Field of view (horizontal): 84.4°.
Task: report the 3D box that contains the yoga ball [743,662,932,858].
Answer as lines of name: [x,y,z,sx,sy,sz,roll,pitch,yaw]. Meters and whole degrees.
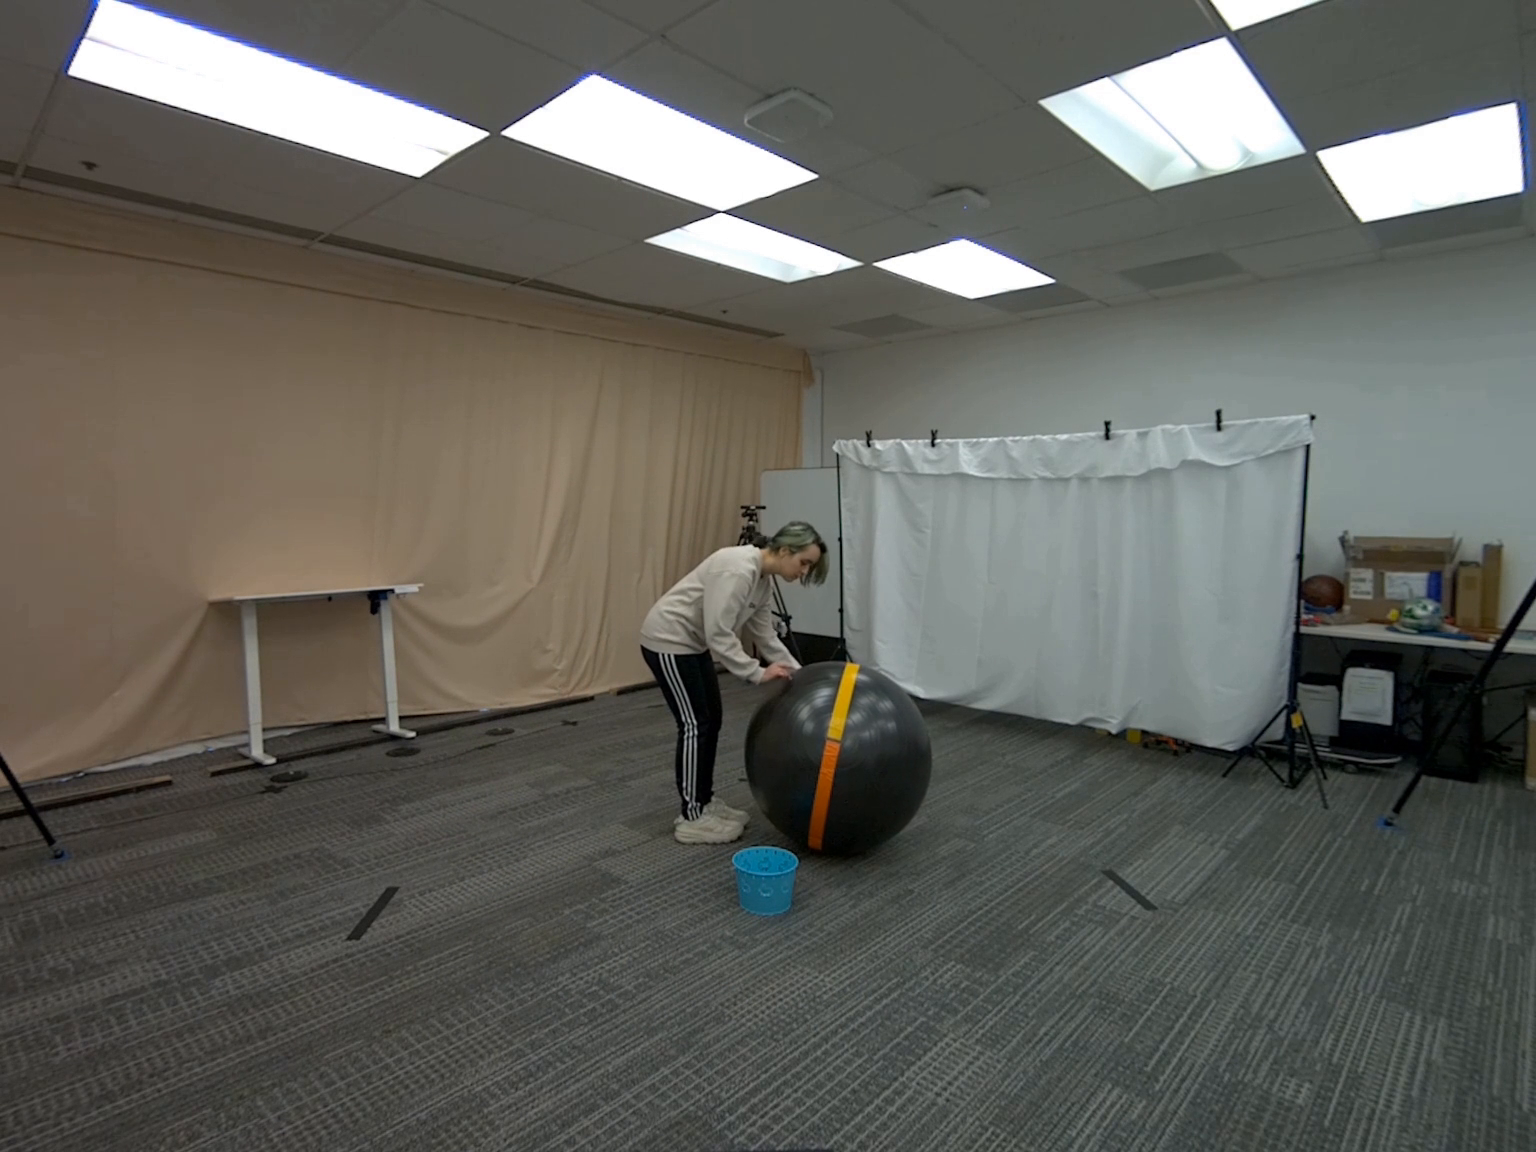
yoga ball: [0.293,0.737,3.437,0.757,0.756,0.760,0,4,-2]
